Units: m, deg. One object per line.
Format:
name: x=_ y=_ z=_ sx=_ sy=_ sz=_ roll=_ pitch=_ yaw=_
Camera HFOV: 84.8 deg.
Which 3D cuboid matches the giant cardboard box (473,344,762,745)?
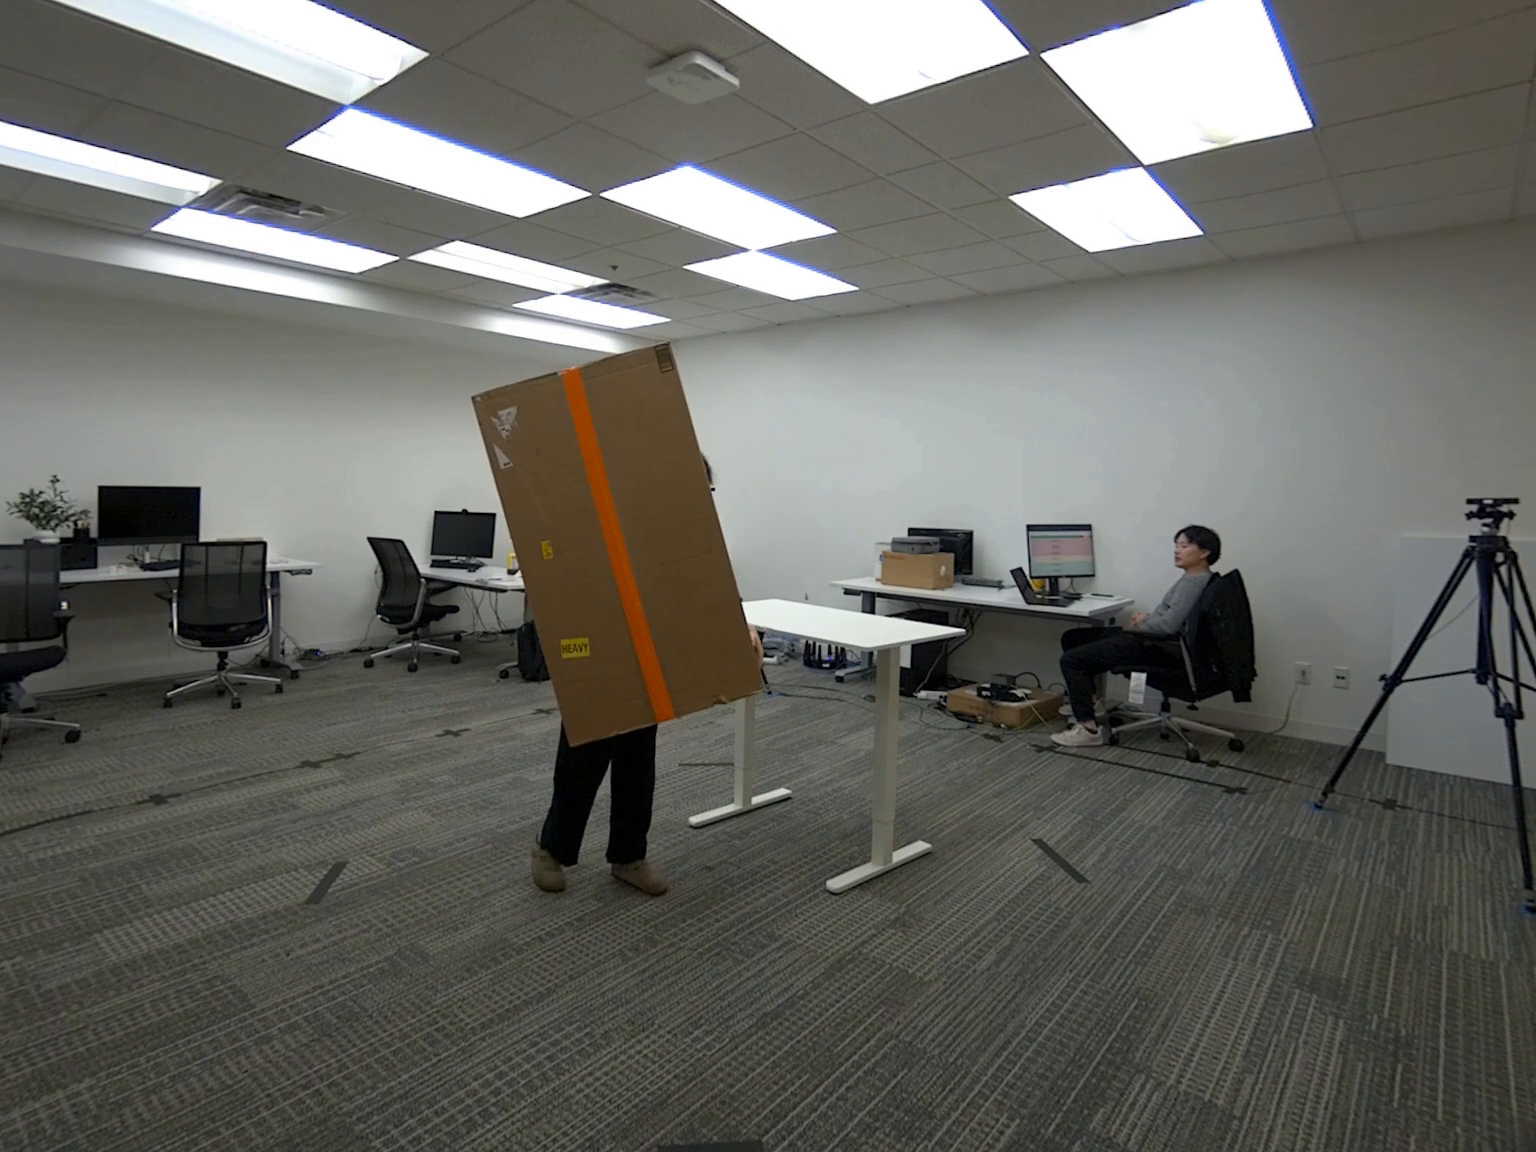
giant cardboard box: x=-0.446 y=-0.099 z=2.574 sx=0.577 sy=1.024 sz=0.427 roll=-16 pitch=2 yaw=-1
